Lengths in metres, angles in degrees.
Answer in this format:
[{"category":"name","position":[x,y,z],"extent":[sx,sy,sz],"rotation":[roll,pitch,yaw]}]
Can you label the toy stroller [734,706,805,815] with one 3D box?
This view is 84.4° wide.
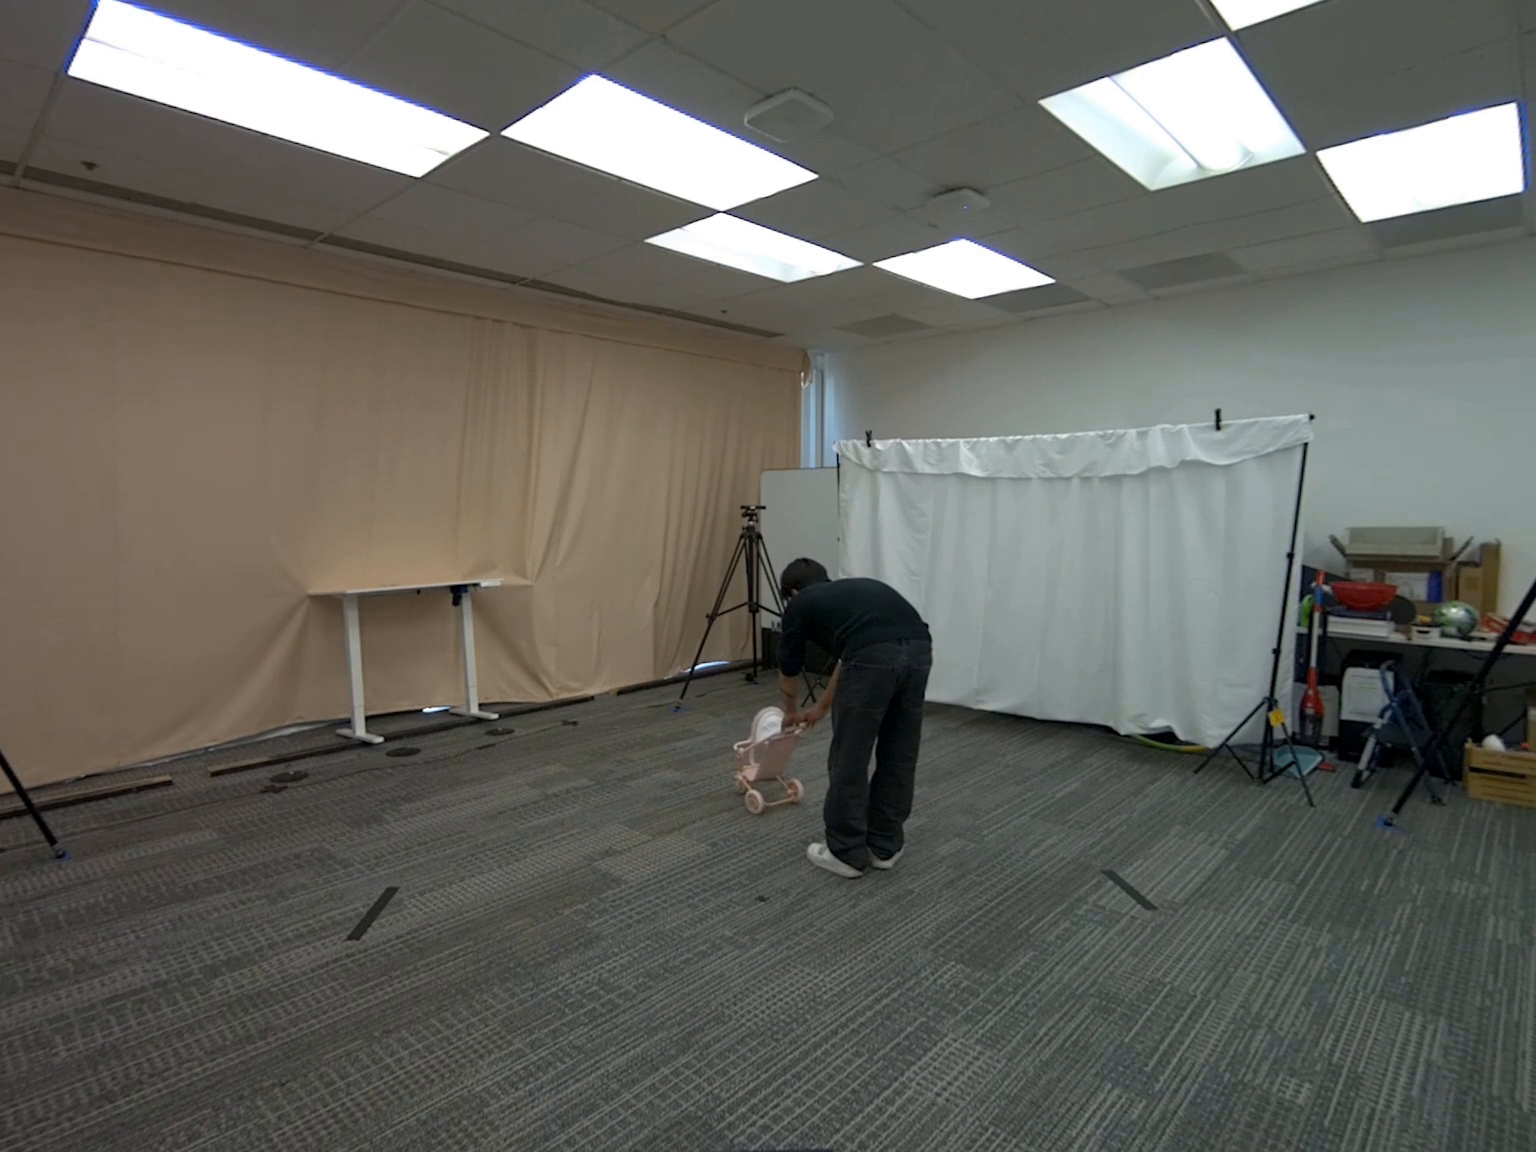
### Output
[{"category":"toy stroller","position":[0.001,0.841,3.920],"extent":[0.273,0.531,0.354],"rotation":[-1,20,-36]}]
